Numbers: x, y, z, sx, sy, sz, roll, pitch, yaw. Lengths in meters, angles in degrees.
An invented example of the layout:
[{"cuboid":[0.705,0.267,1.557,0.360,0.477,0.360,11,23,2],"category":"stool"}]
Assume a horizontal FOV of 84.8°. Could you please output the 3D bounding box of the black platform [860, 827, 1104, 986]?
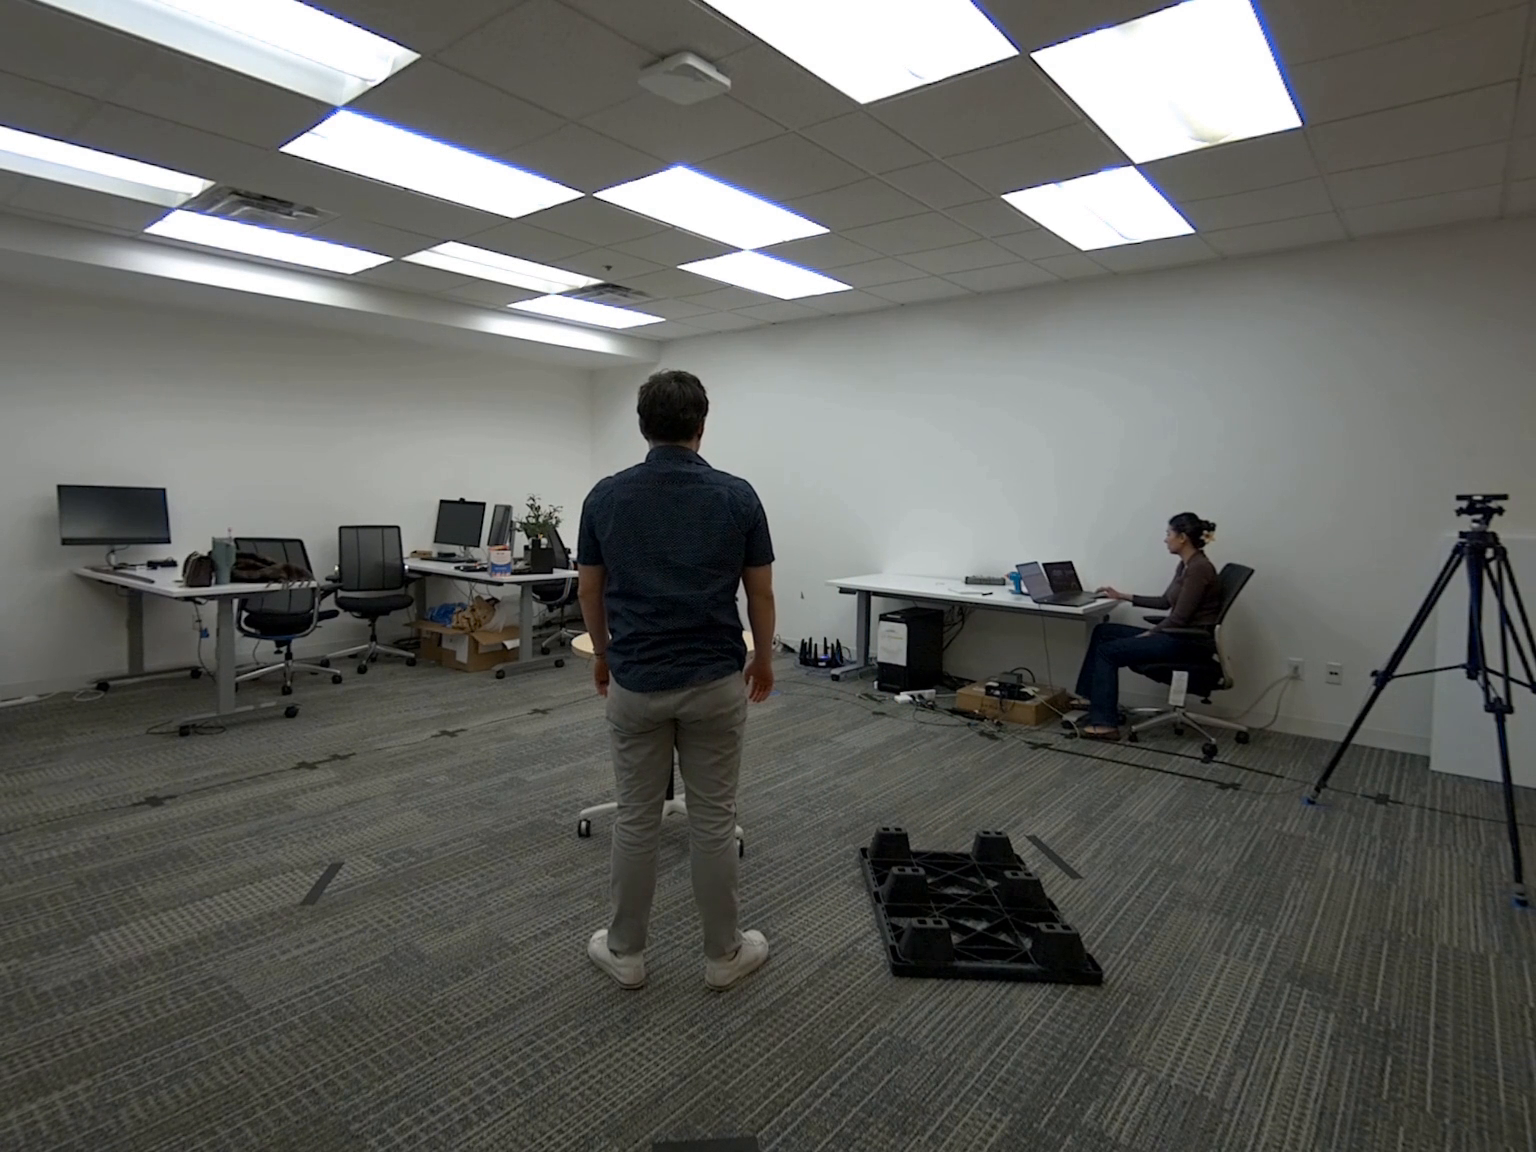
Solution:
[{"cuboid":[0.650,1.043,2.812,0.606,0.143,0.808,1,6,0],"category":"black platform"}]
